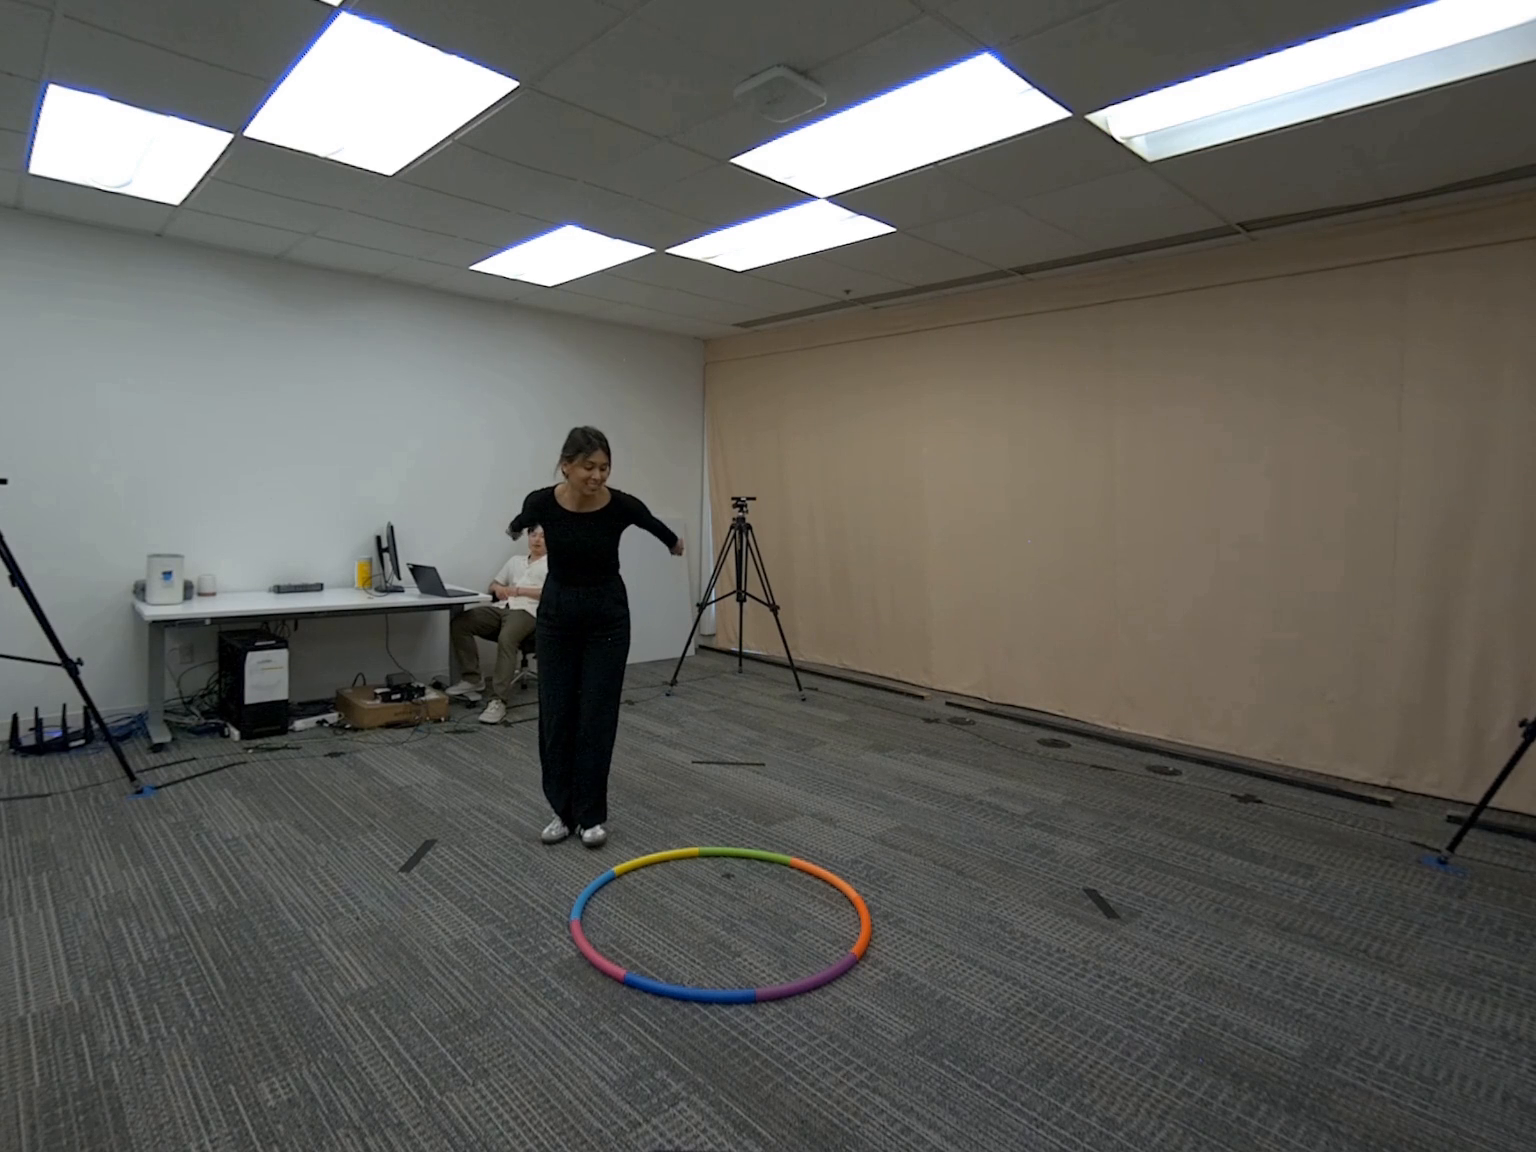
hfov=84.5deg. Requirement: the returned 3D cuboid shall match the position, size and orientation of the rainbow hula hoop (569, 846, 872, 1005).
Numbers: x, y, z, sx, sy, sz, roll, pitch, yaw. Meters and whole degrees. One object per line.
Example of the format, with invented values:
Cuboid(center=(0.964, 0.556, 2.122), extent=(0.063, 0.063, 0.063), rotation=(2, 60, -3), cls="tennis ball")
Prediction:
Cuboid(center=(-0.165, 1.106, 2.800), extent=(0.978, 0.035, 0.982), rotation=(1, 5, -1), cls="rainbow hula hoop")
